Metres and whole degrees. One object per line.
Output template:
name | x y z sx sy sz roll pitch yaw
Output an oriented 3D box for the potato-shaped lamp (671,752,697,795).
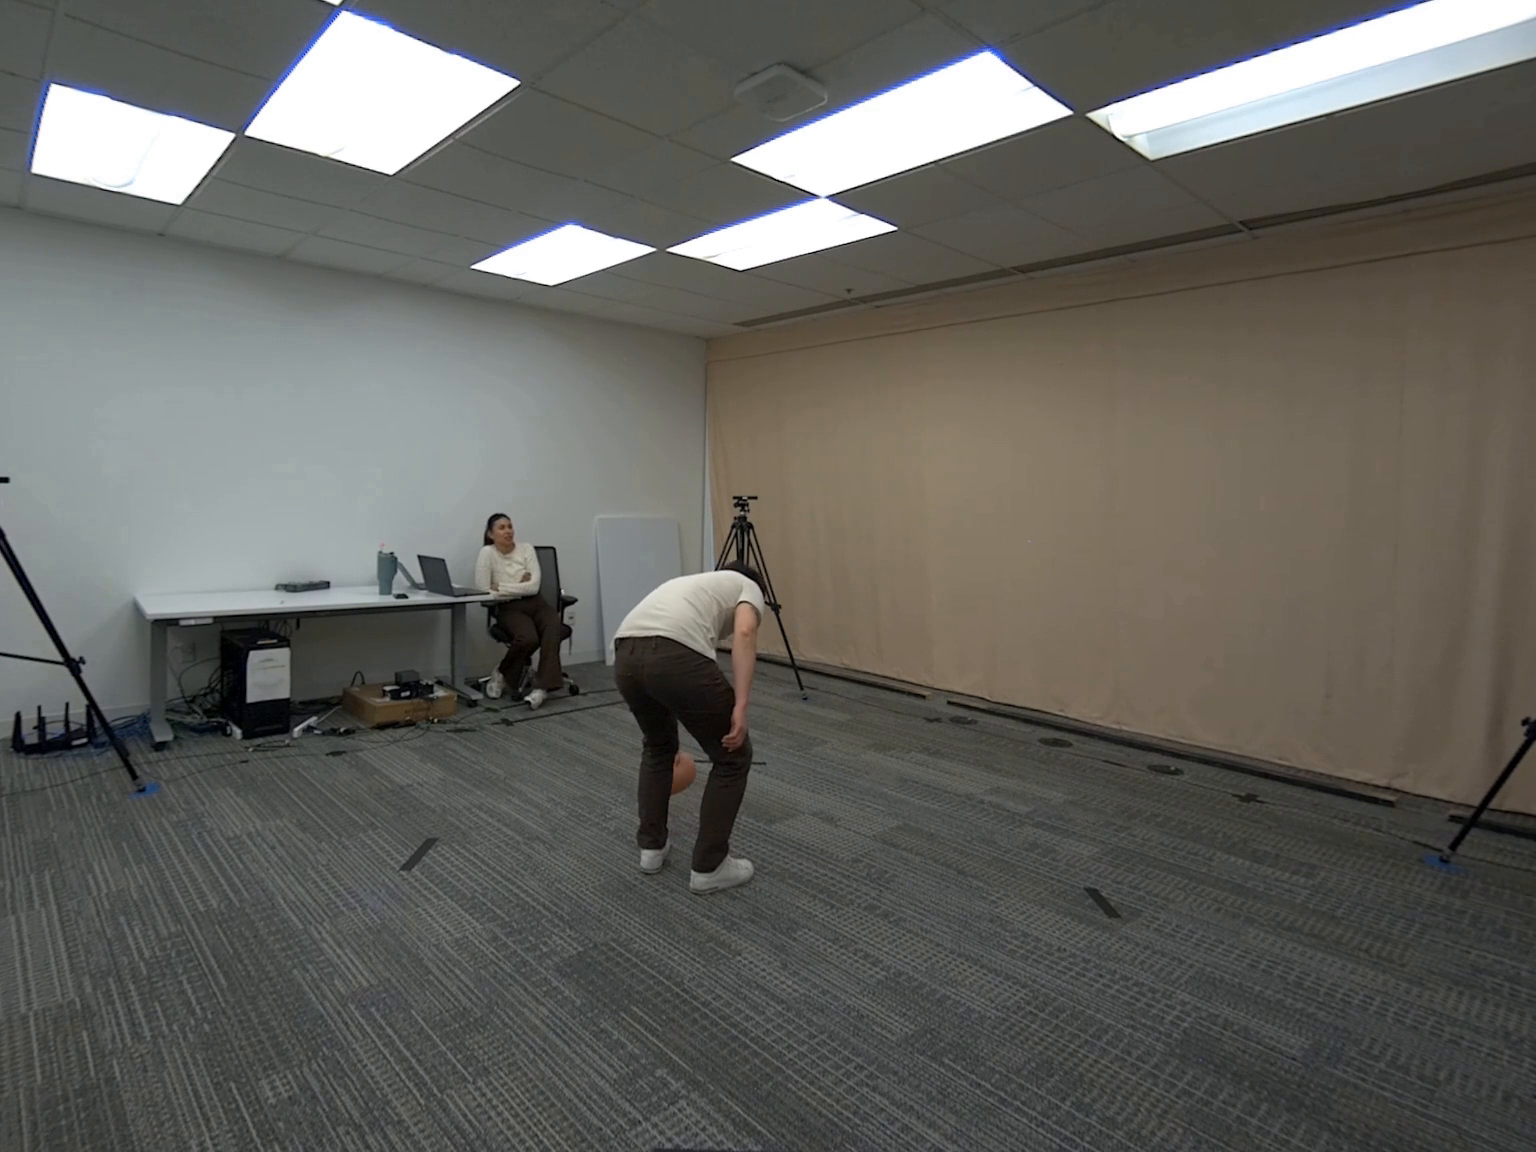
potato-shaped lamp | -0.404 0.818 3.519 0.196 0.171 0.166 -23 2 -27
